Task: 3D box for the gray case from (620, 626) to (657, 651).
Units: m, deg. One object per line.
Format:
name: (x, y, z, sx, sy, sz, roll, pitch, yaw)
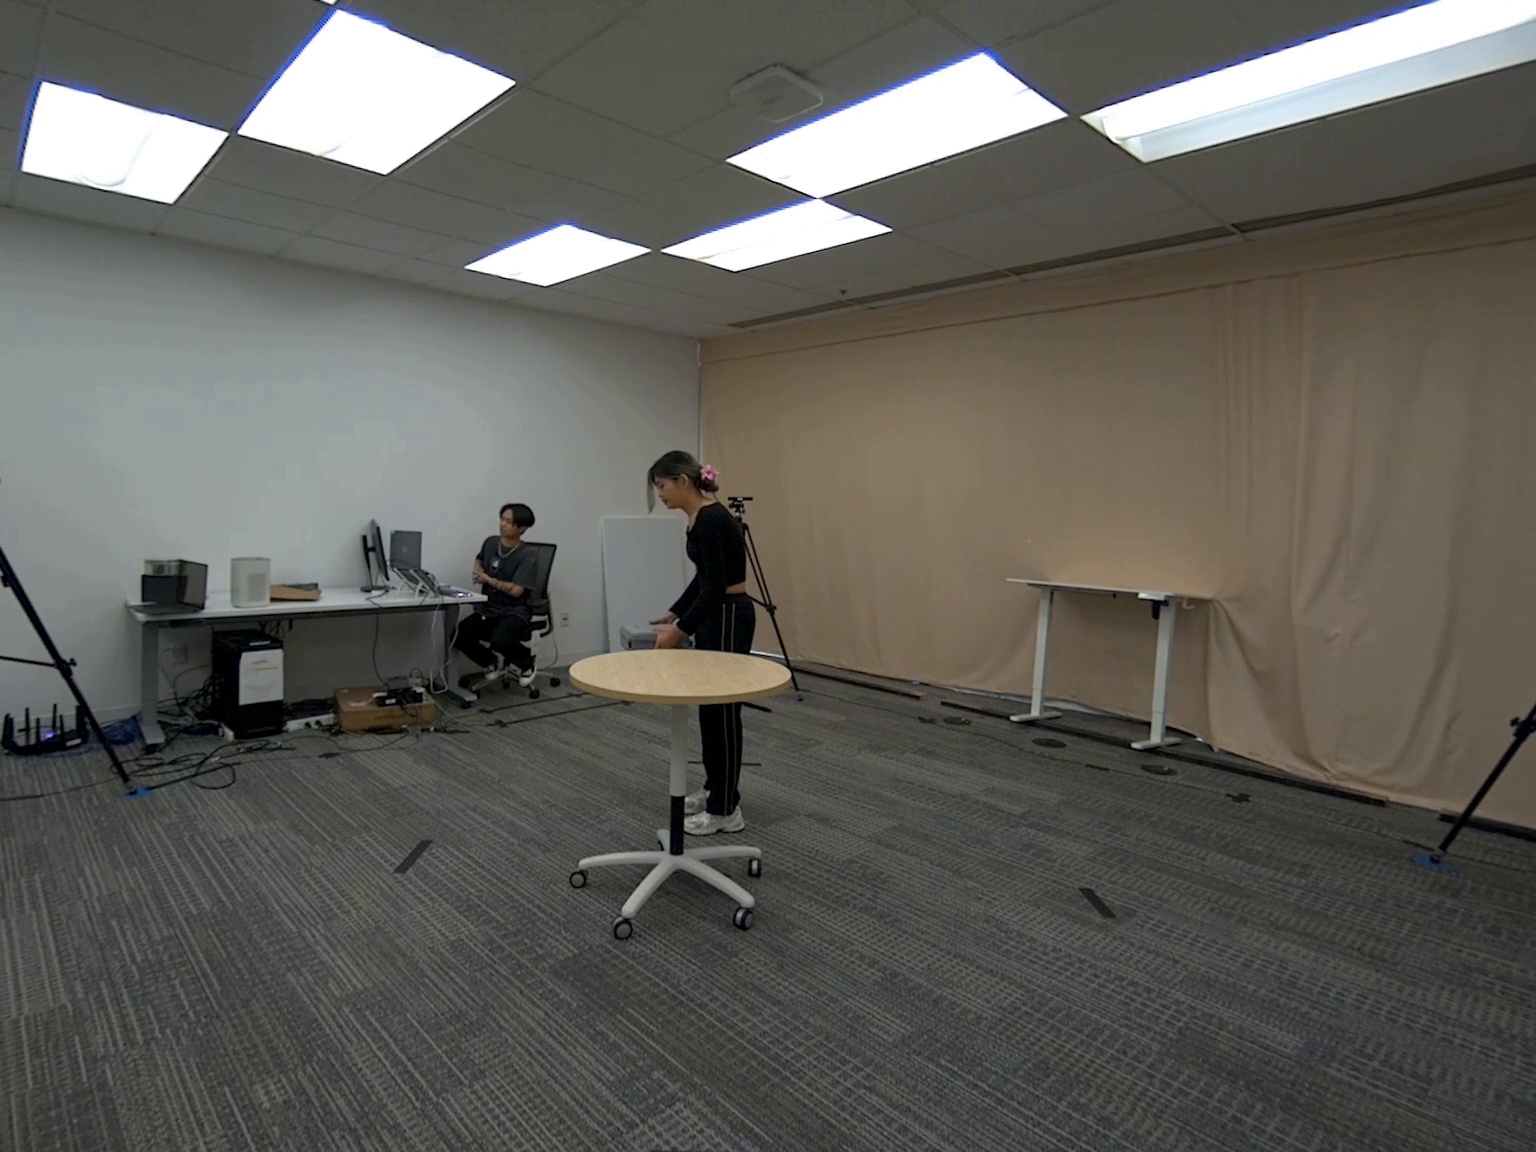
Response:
gray case: (-0.485, 0.269, 3.582, 0.256, 0.104, 0.261, 1, 3, -21)
